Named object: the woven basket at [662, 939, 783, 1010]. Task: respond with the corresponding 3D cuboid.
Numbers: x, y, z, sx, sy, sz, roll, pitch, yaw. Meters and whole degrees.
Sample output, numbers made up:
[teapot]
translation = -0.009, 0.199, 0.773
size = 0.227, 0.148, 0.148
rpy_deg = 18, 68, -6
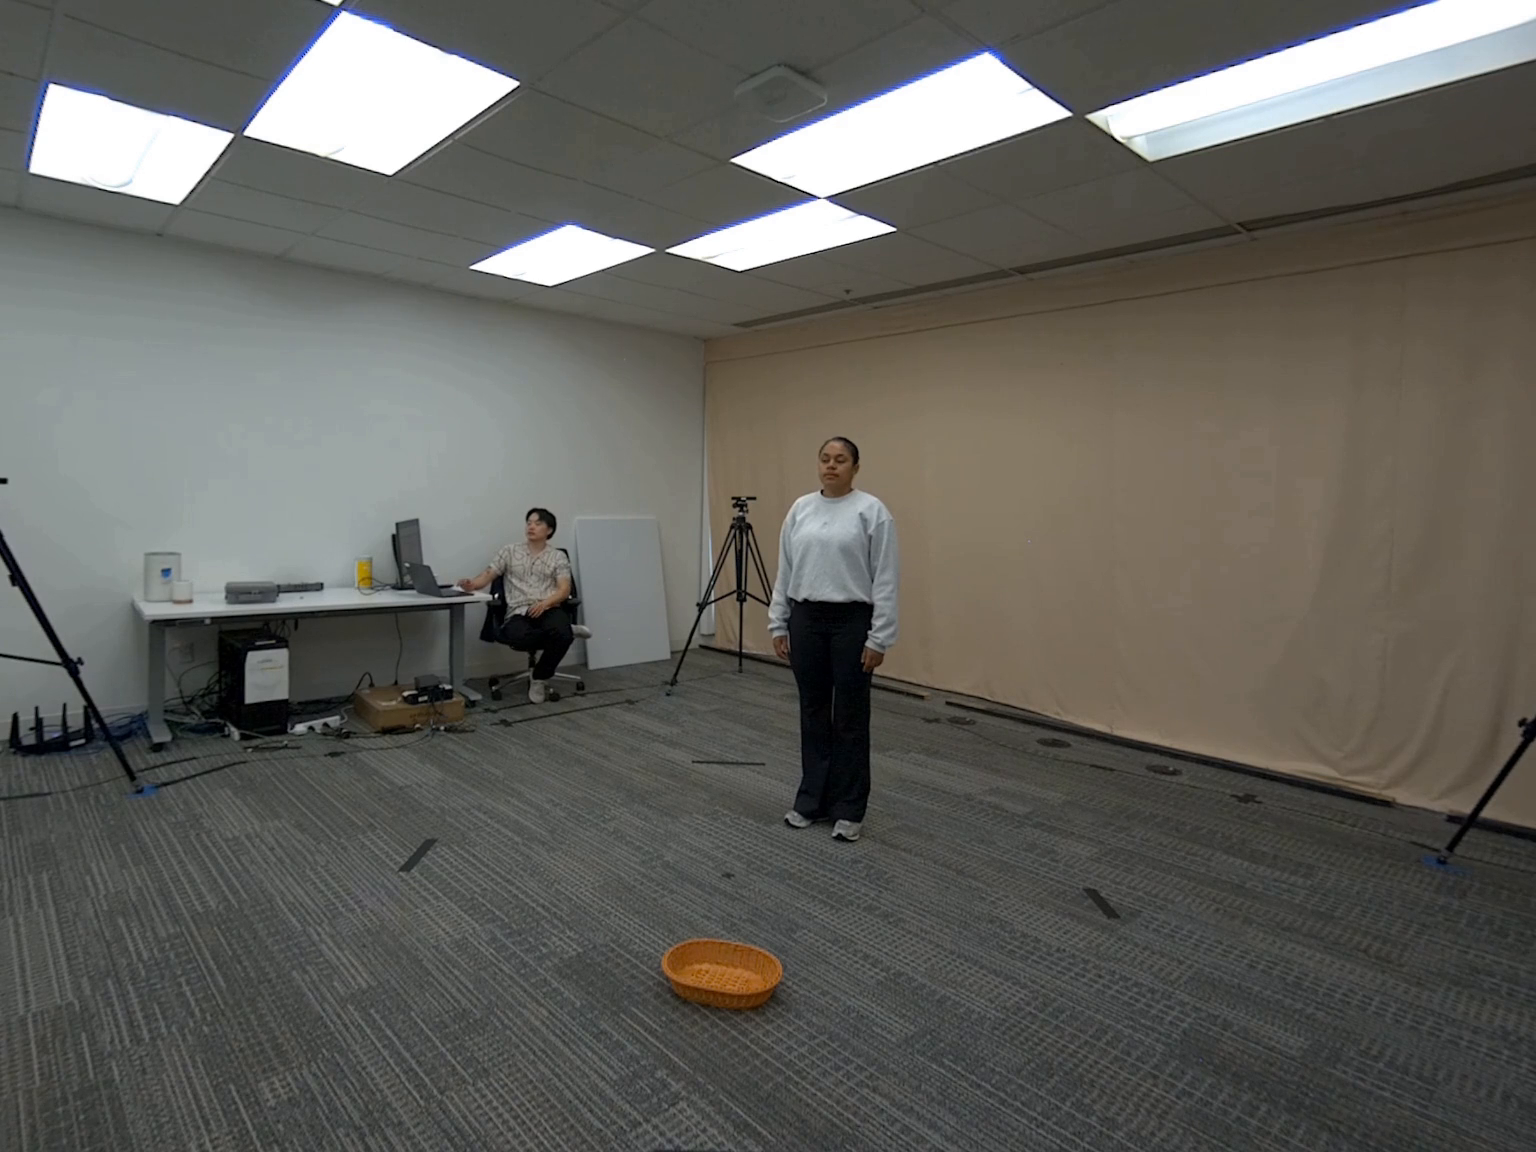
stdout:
[woven basket]
translation = -0.139, 1.135, 2.387
size = 0.355, 0.073, 0.250
rpy_deg = 3, 5, 16
